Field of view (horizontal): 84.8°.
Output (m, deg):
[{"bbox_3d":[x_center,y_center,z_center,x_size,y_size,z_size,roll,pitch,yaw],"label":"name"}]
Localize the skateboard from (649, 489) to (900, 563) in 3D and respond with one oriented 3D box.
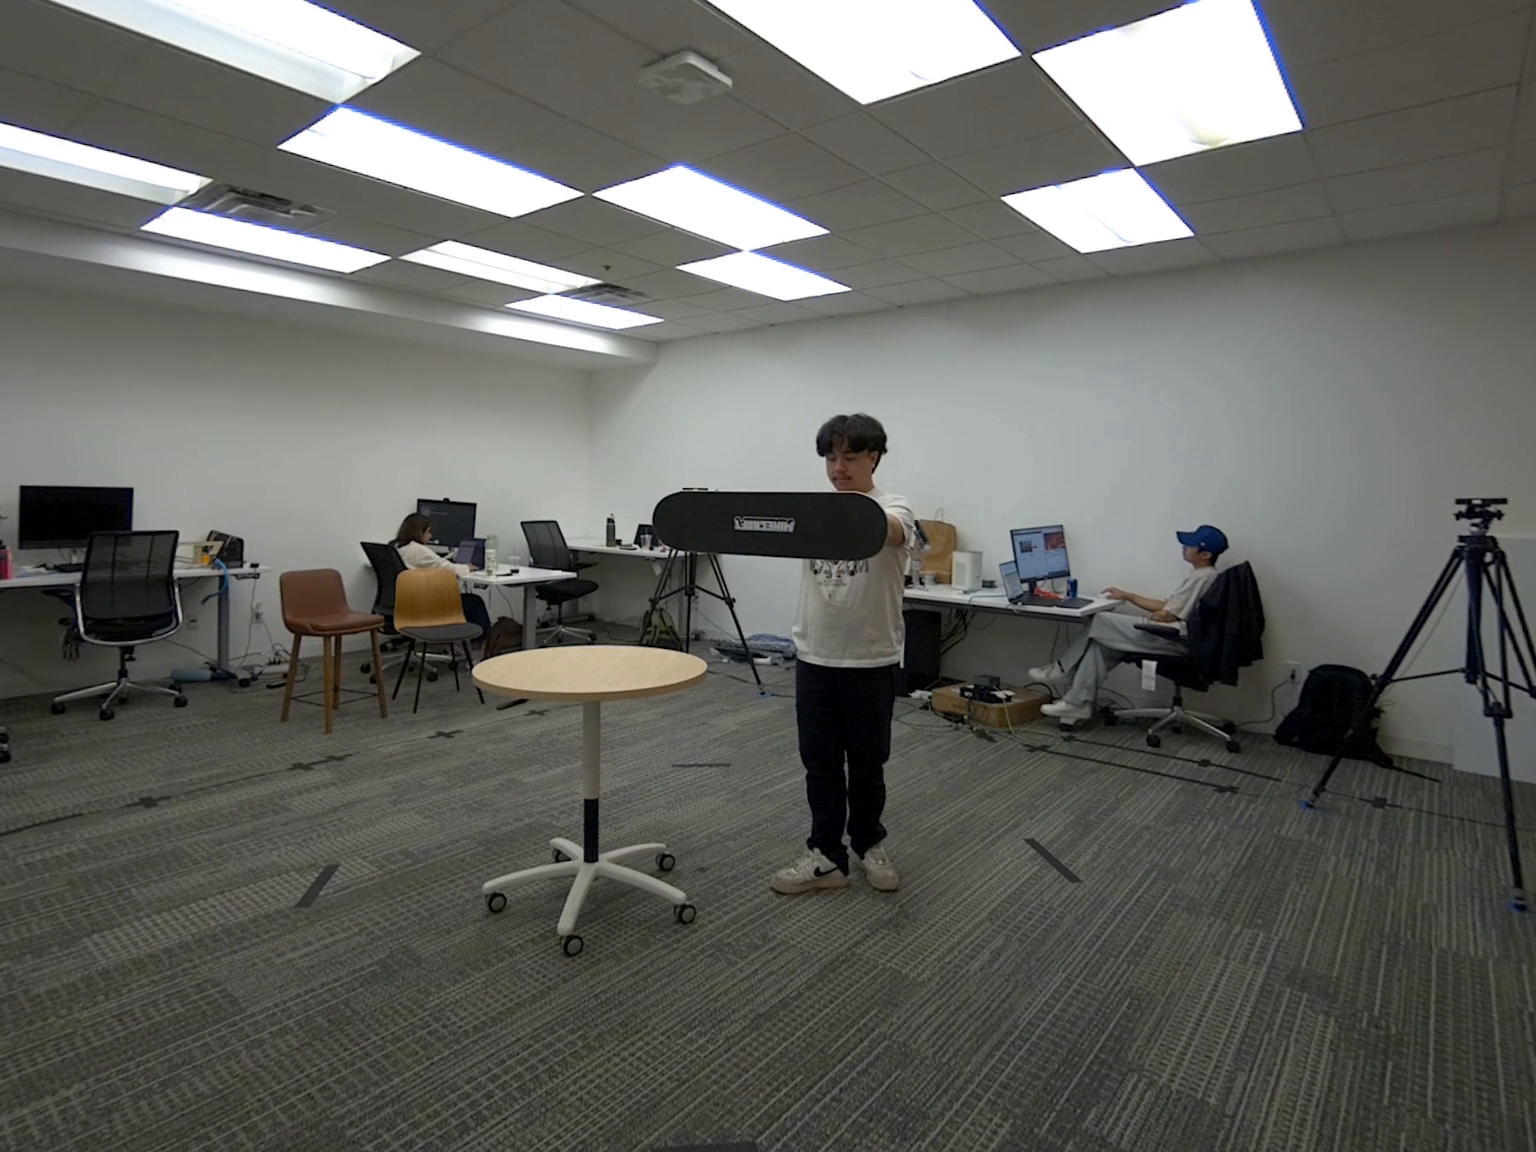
[{"bbox_3d":[-0.006,-0.153,2.510,0.809,0.192,0.108,5,8,32],"label":"skateboard"}]
